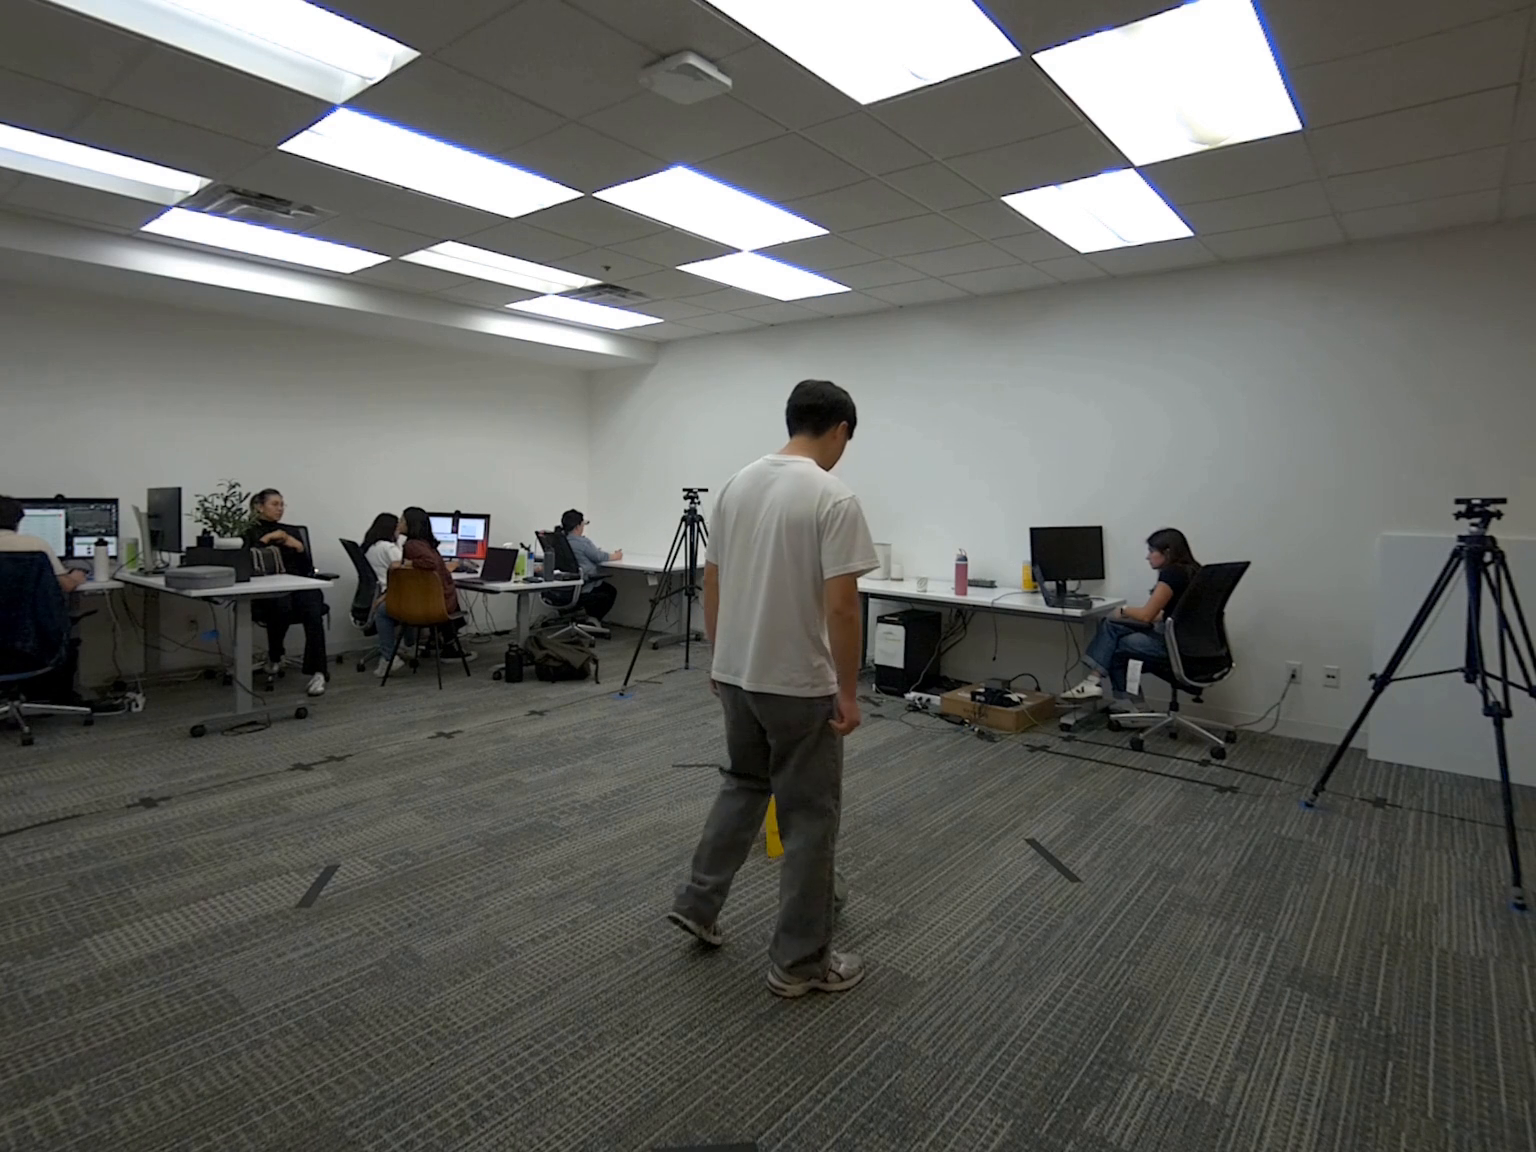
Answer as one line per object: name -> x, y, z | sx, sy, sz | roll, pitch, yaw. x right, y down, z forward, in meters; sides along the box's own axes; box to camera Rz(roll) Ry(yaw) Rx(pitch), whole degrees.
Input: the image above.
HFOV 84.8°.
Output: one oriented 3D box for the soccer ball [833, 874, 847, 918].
soccer ball -> 0.177, 1.003, 2.762 | 0.187, 0.187, 0.188 | 1, 4, -2
